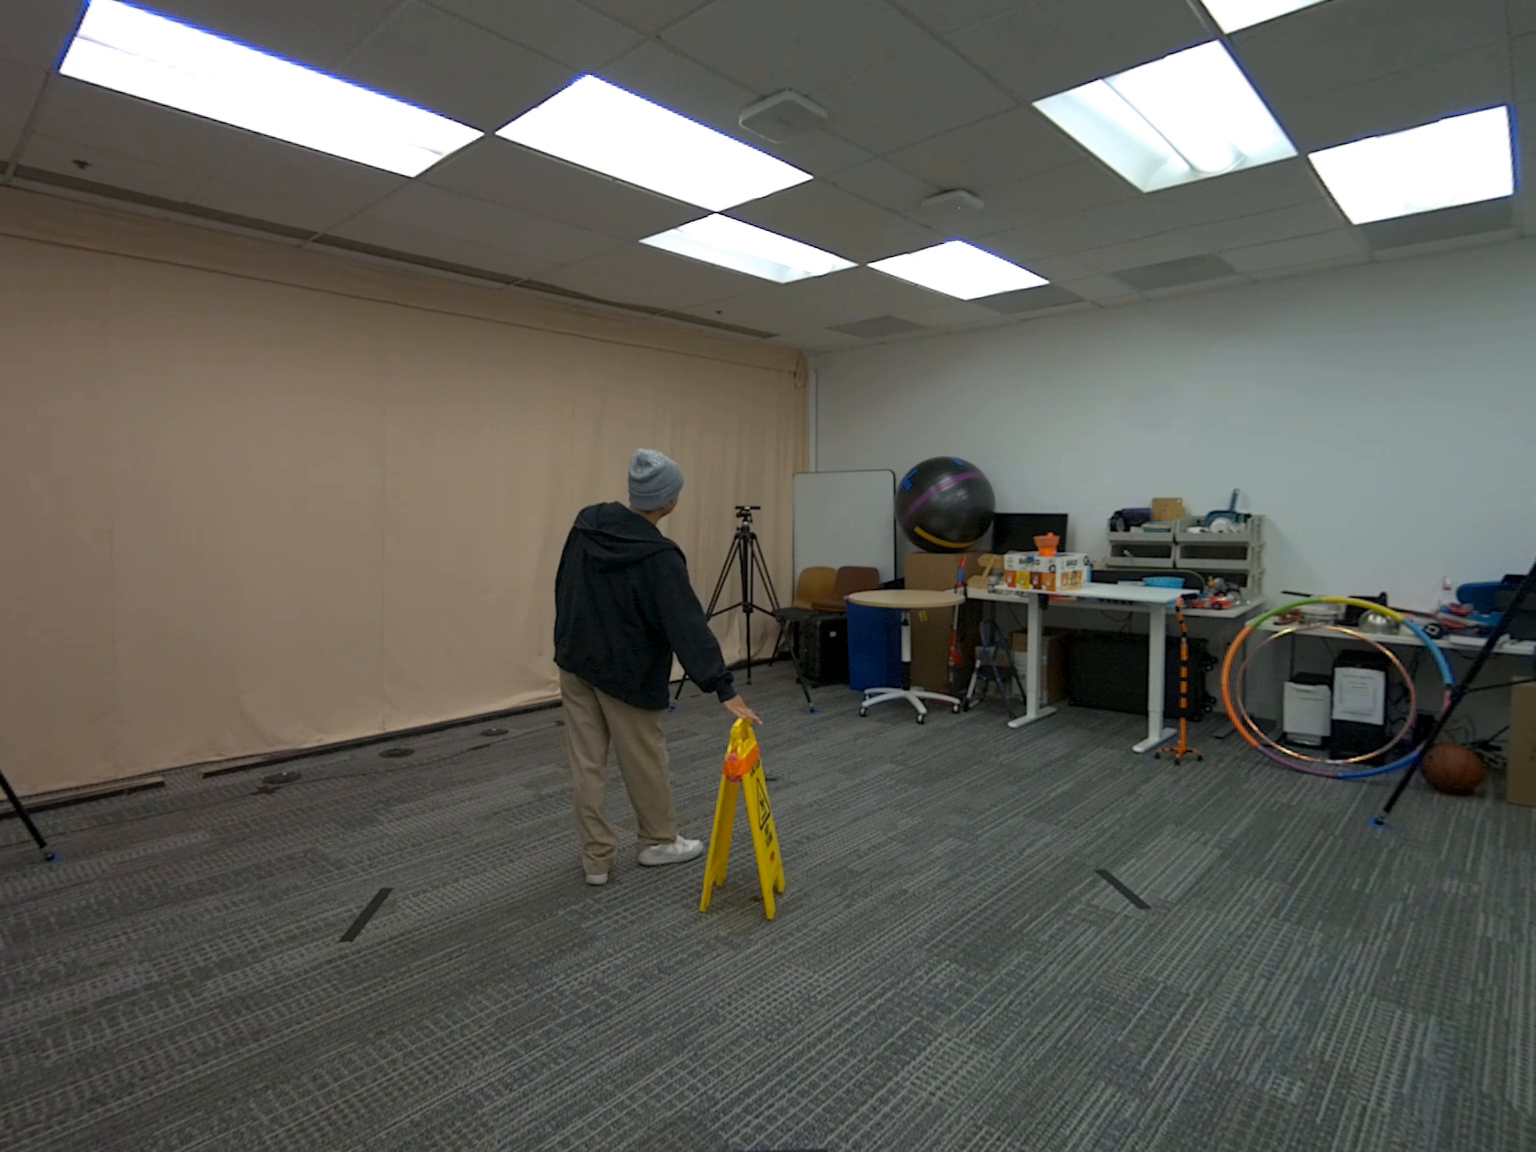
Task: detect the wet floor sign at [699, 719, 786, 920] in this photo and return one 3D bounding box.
[{"bbox_3d":[-0.089,0.821,2.966,0.294,0.645,0.278,0,2,13],"label":"wet floor sign"}]
